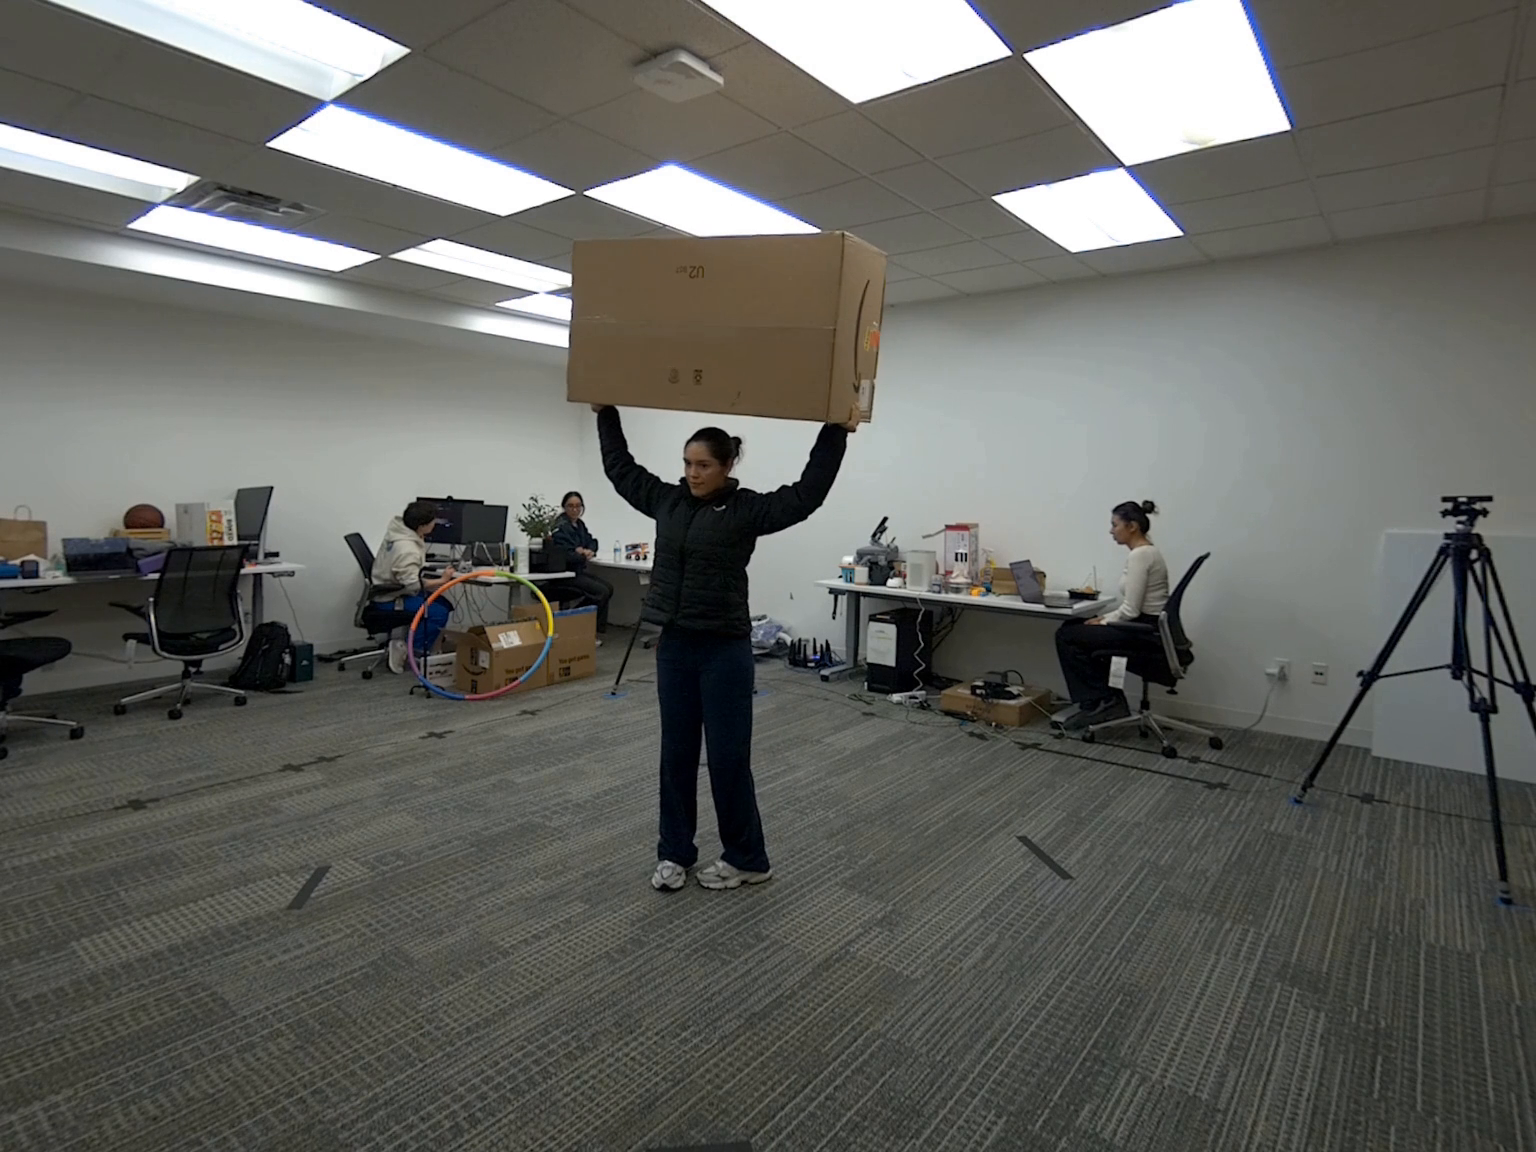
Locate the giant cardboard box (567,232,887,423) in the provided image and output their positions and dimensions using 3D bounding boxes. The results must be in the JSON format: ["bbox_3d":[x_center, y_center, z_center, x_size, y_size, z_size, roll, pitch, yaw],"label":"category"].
[{"bbox_3d":[-0.147,-0.860,3.006,1.058,0.579,0.437,10,11,27],"label":"giant cardboard box"}]
